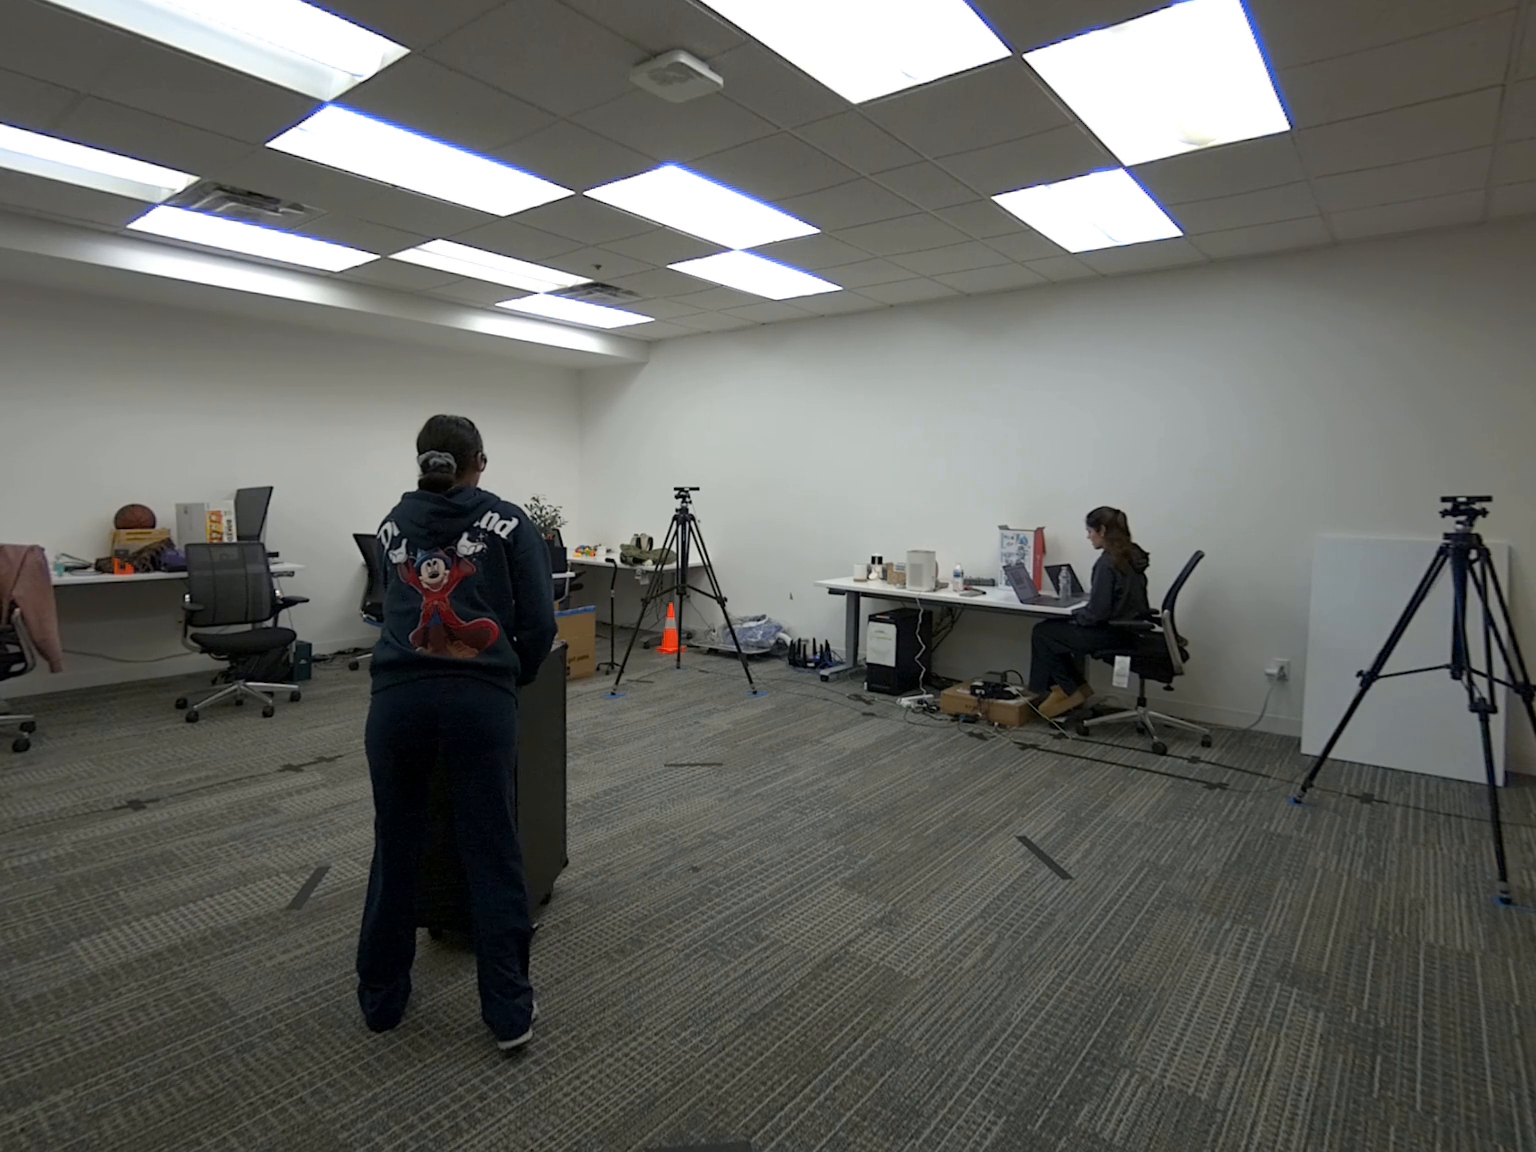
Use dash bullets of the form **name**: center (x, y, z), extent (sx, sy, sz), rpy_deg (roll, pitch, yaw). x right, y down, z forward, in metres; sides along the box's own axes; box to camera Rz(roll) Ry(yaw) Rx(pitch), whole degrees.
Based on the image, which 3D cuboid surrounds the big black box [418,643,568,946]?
- **big black box**: center (-0.904, 0.672, 2.730), extent (0.399, 0.858, 0.519), rpy_deg (1, 4, 5)
